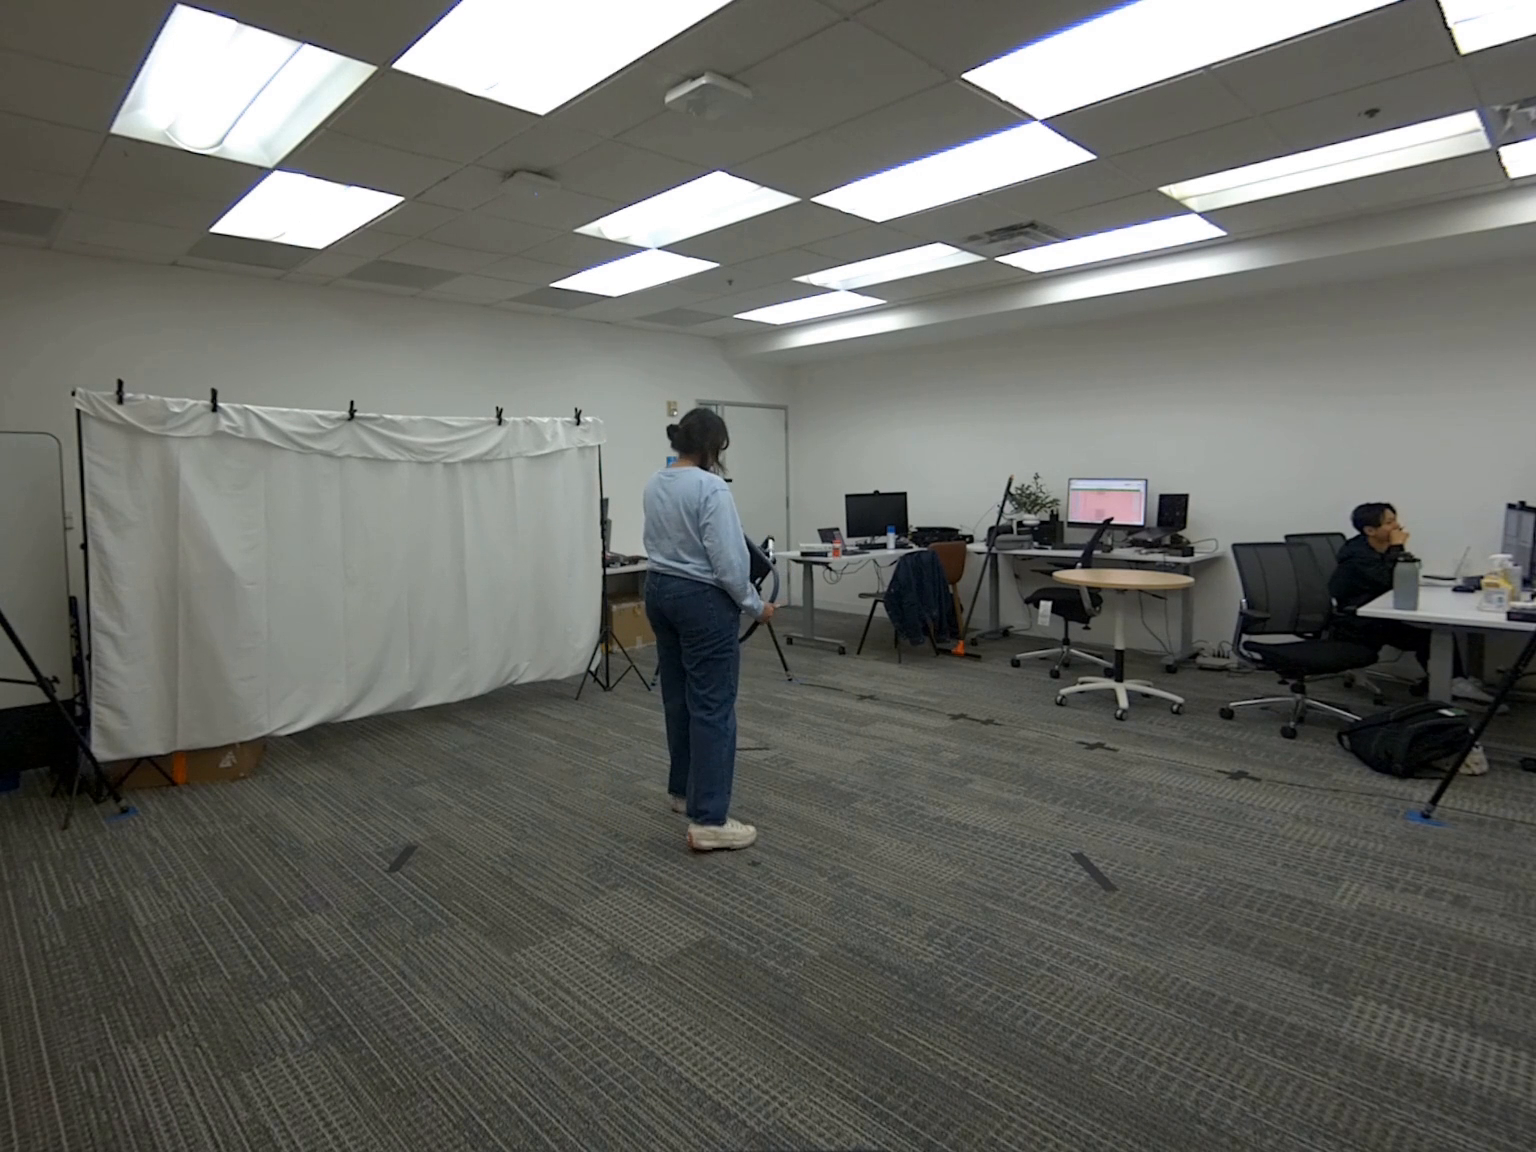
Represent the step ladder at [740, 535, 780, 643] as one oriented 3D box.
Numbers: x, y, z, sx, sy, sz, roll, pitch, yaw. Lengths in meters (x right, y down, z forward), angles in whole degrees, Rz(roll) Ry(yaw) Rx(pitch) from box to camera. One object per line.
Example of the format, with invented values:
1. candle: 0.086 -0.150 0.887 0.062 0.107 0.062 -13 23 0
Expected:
1. step ladder: -0.160 0.022 3.740 0.340 0.429 0.624 29 15 -23
